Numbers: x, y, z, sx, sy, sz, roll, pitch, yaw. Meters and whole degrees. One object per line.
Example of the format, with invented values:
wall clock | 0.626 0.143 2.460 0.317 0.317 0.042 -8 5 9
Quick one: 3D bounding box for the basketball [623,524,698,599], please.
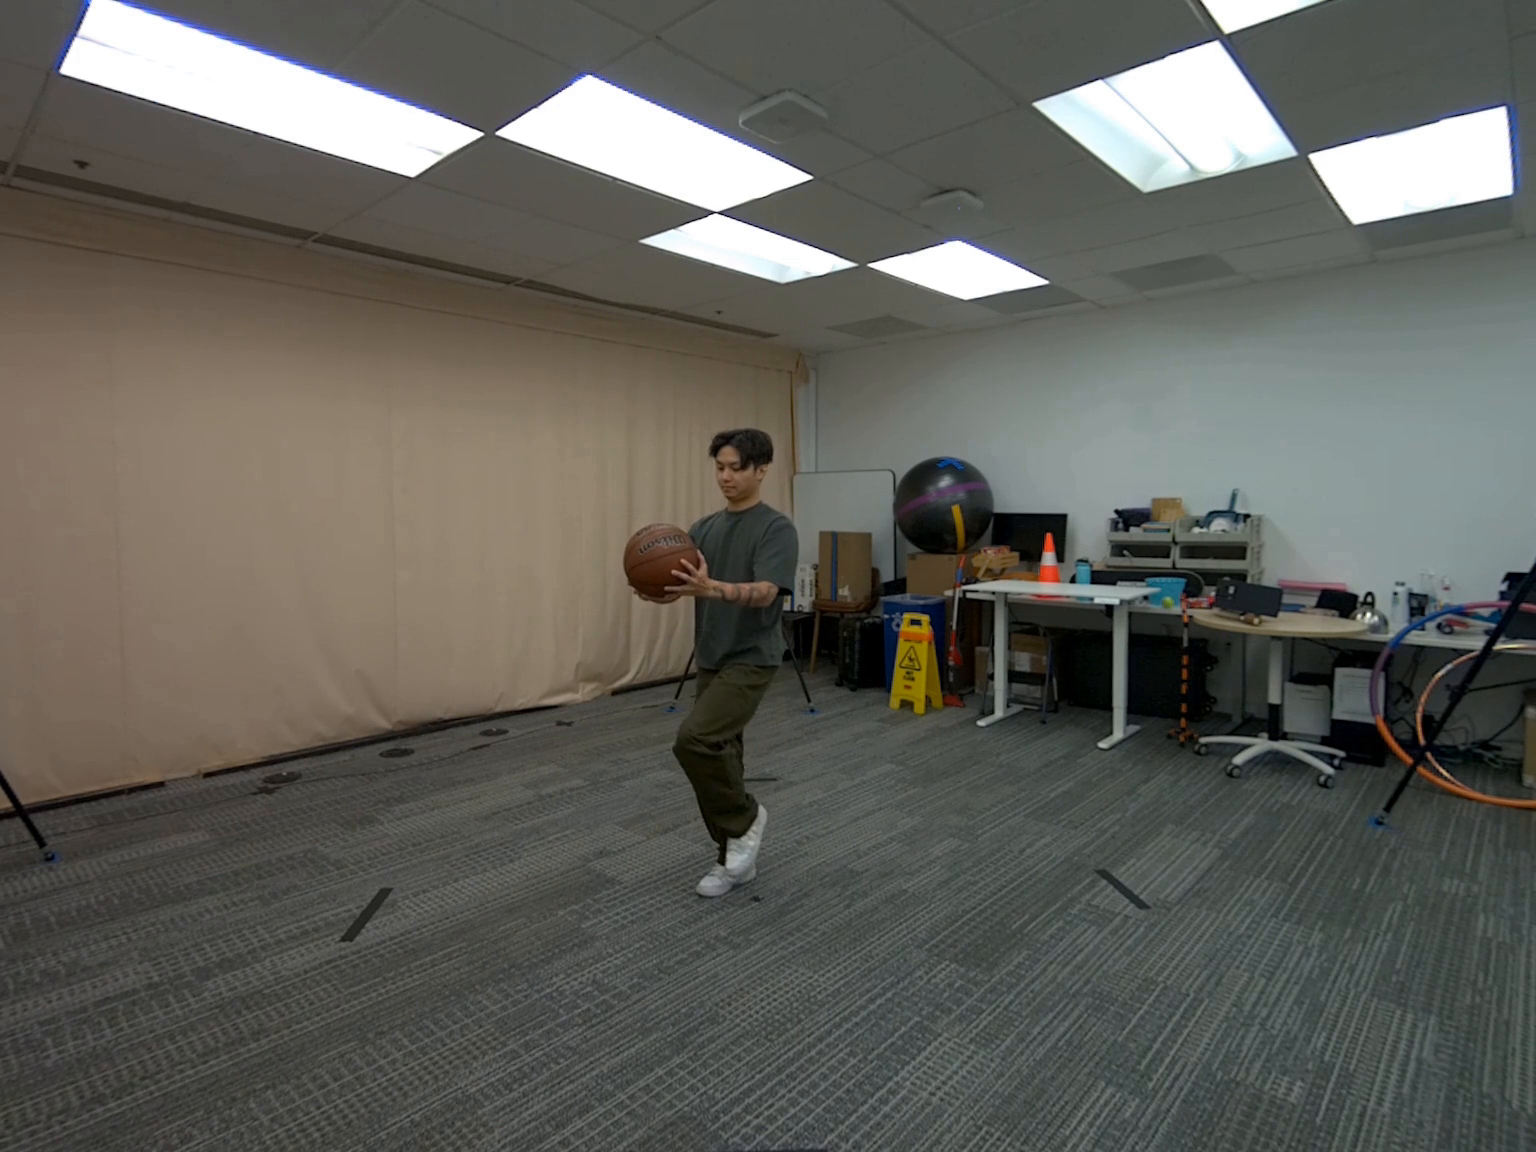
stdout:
basketball | -0.346 -0.039 2.686 0.236 0.235 0.237 0 4 -2
